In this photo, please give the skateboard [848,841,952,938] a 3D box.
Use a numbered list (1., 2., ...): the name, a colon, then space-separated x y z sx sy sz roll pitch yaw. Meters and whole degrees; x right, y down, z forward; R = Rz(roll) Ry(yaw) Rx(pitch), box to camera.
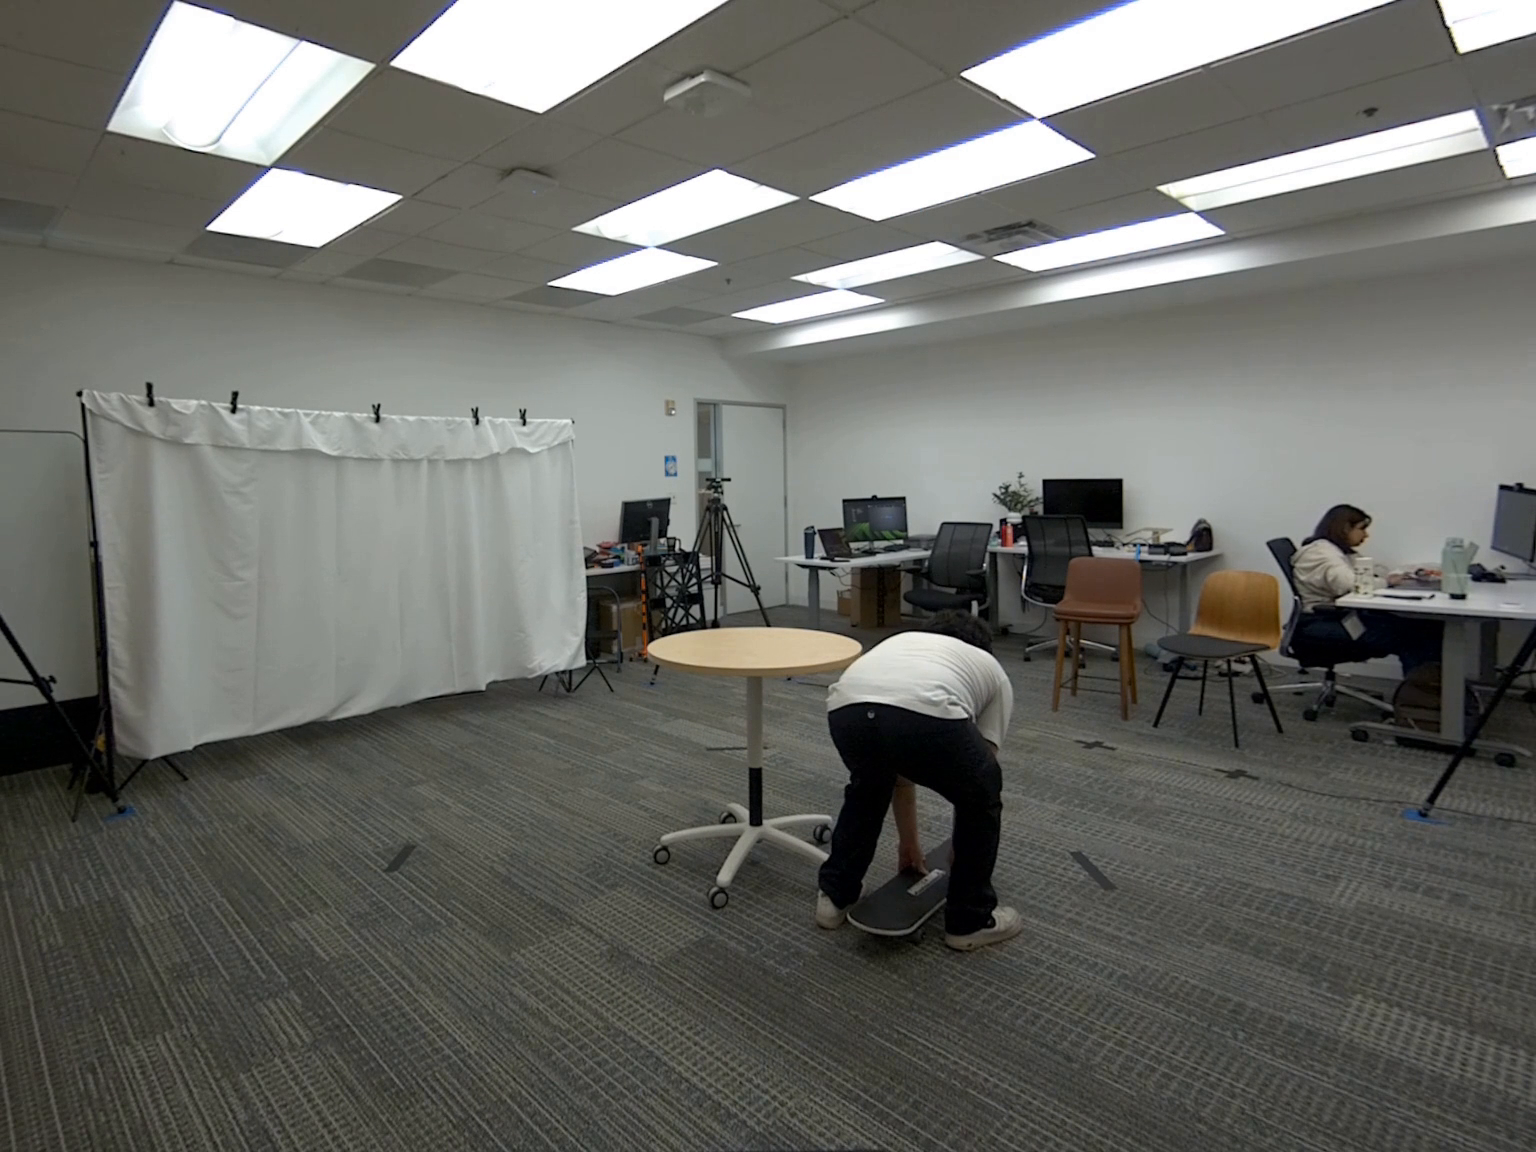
1. skateboard: 0.518 1.022 2.750 0.199 0.110 0.766 5 9 38
